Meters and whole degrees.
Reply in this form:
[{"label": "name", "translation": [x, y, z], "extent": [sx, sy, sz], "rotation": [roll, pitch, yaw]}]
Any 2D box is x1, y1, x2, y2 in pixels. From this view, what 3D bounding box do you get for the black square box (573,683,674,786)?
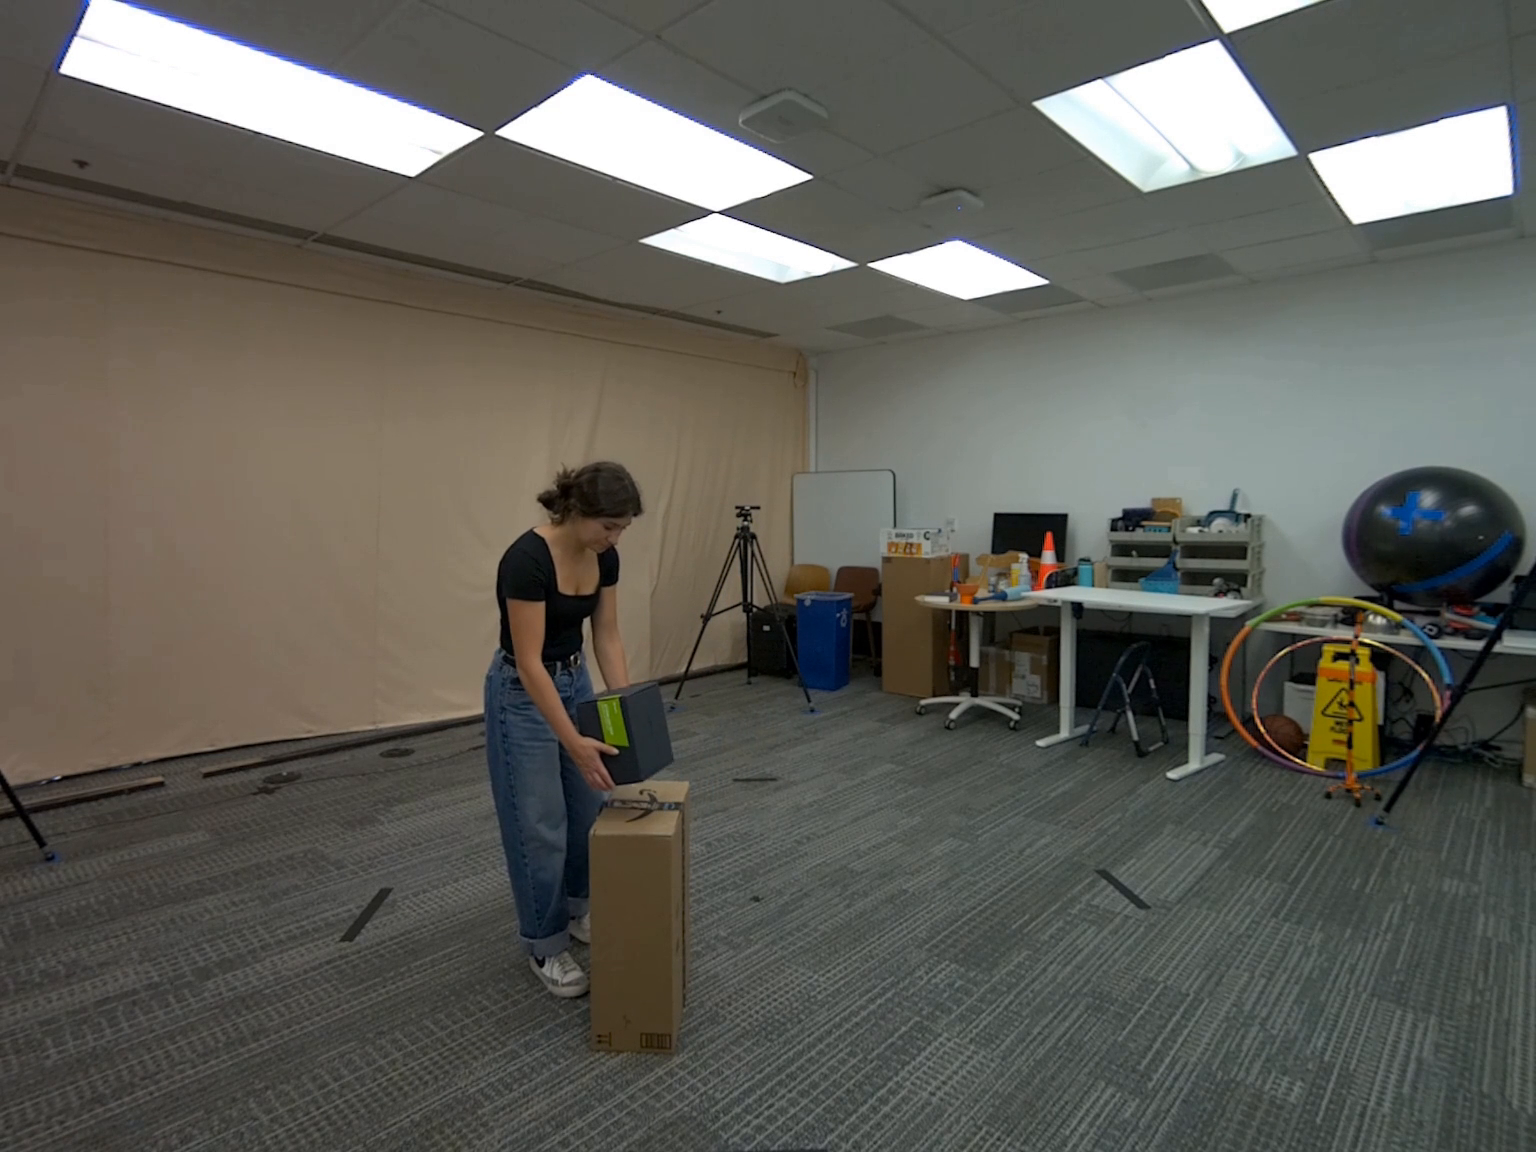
[{"label": "black square box", "translation": [-0.382, 0.427, 2.287], "extent": [0.158, 0.228, 0.213], "rotation": [-11, -1, 15]}]
